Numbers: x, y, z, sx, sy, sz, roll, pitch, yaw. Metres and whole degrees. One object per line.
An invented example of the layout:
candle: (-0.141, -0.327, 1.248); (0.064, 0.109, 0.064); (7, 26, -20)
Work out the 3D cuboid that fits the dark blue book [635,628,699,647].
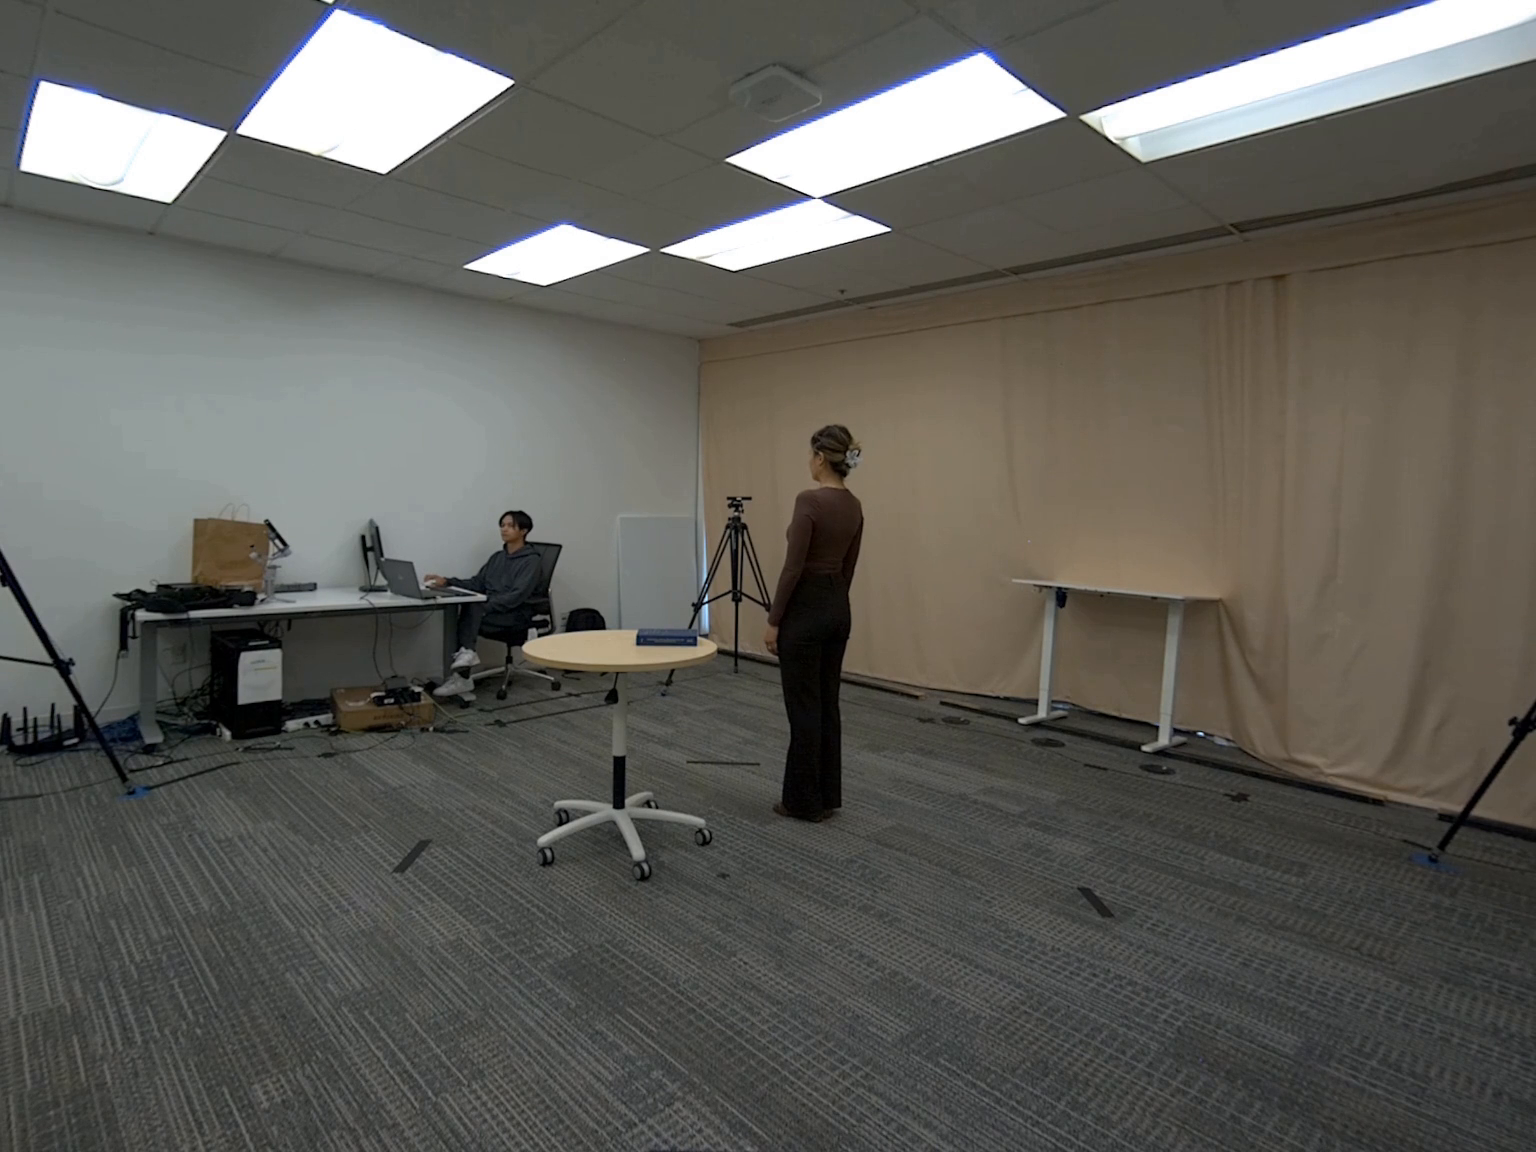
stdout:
dark blue book: (-0.421, 0.250, 3.431); (0.244, 0.045, 0.164); (1, 5, -3)
